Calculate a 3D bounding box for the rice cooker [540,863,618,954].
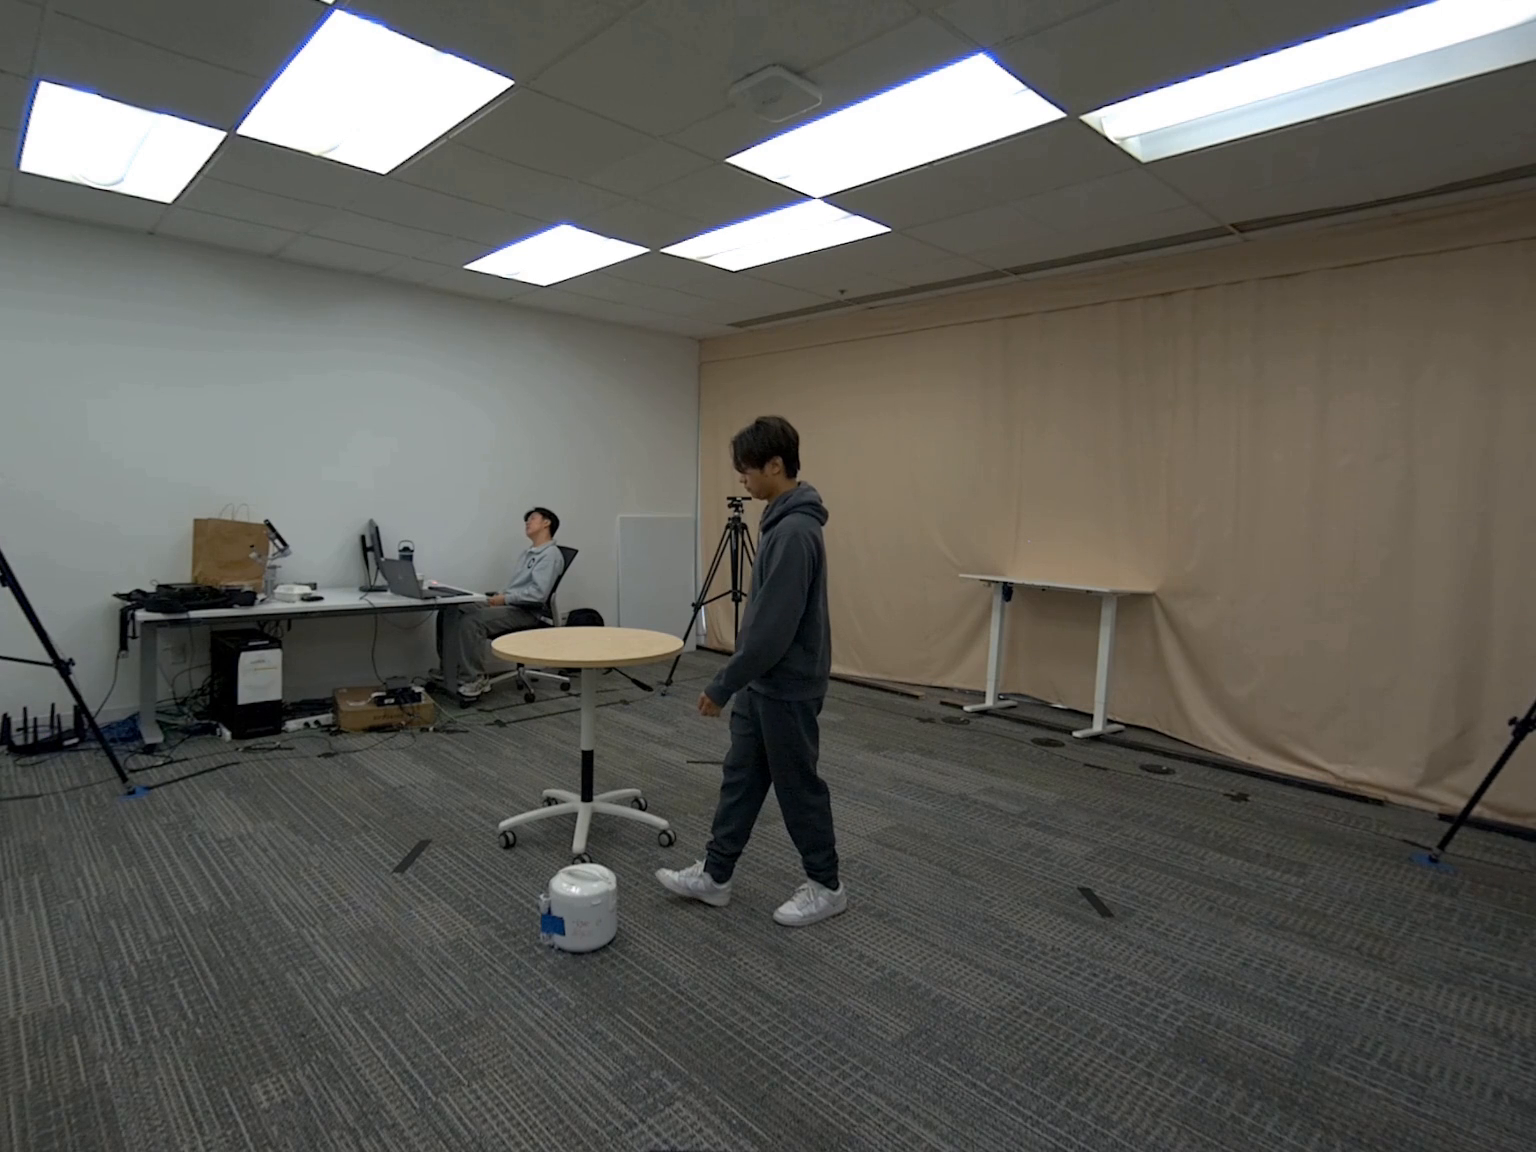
[{"bbox_3d":[-0.582,1.023,2.630,0.224,0.232,0.215,3,5,19],"label":"rice cooker"}]
